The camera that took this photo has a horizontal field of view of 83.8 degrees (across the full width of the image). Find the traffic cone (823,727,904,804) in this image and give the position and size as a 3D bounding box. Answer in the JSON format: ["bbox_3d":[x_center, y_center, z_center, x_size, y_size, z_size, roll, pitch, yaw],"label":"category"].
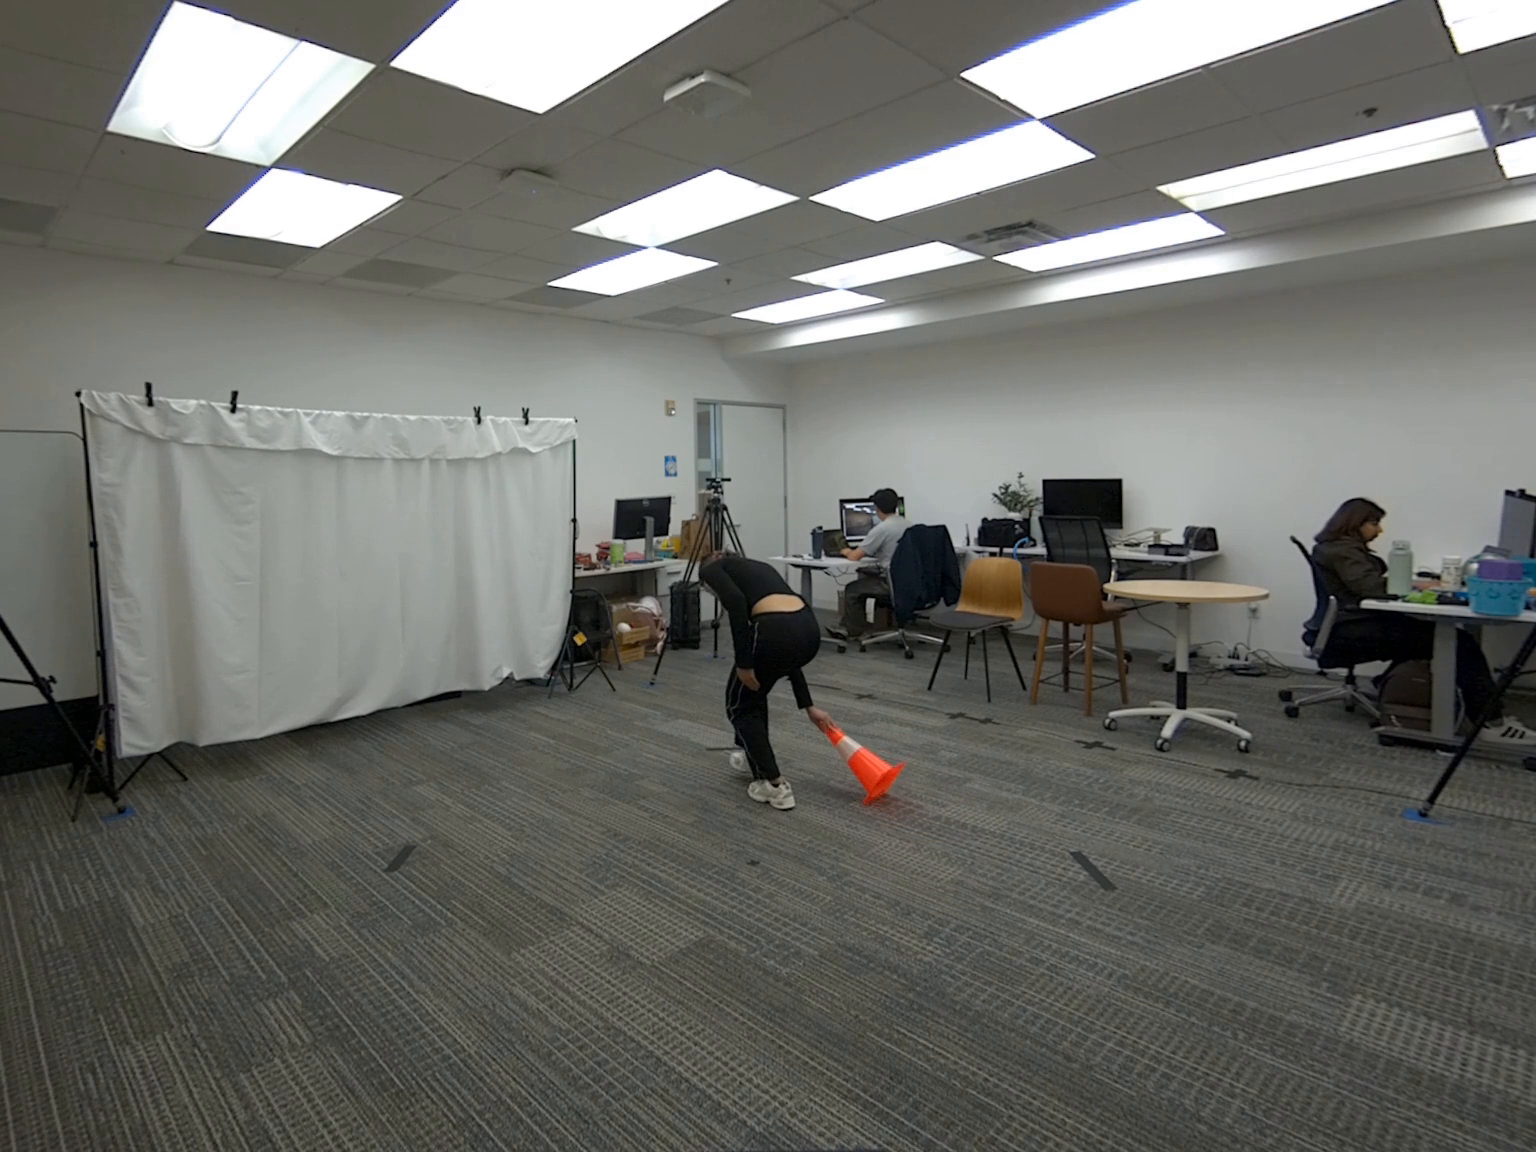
[{"bbox_3d":[0.376,0.776,3.764,0.200,0.201,0.398,-11,44,-44],"label":"traffic cone"}]
